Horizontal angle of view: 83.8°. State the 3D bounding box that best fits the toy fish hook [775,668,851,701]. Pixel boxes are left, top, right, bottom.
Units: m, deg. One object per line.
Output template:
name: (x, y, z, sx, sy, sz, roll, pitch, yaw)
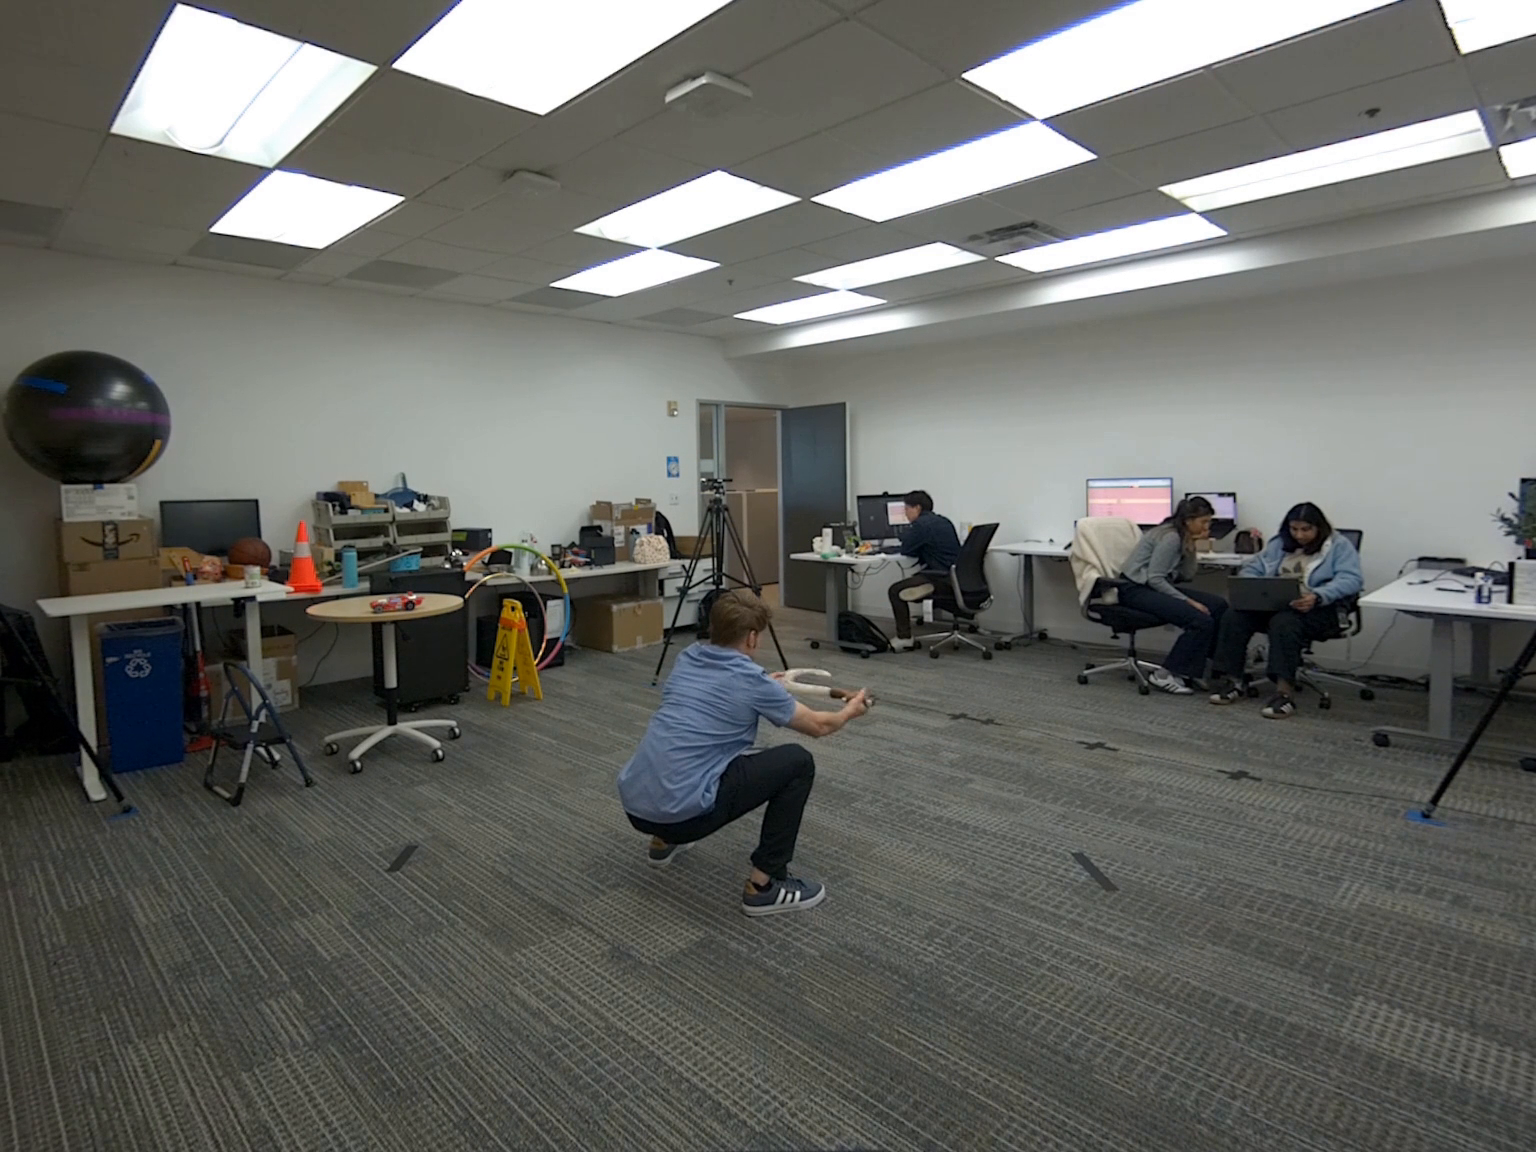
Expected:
toy fish hook: (0.238, 0.448, 3.463, 0.523, 0.047, 0.221, 9, 24, 42)
